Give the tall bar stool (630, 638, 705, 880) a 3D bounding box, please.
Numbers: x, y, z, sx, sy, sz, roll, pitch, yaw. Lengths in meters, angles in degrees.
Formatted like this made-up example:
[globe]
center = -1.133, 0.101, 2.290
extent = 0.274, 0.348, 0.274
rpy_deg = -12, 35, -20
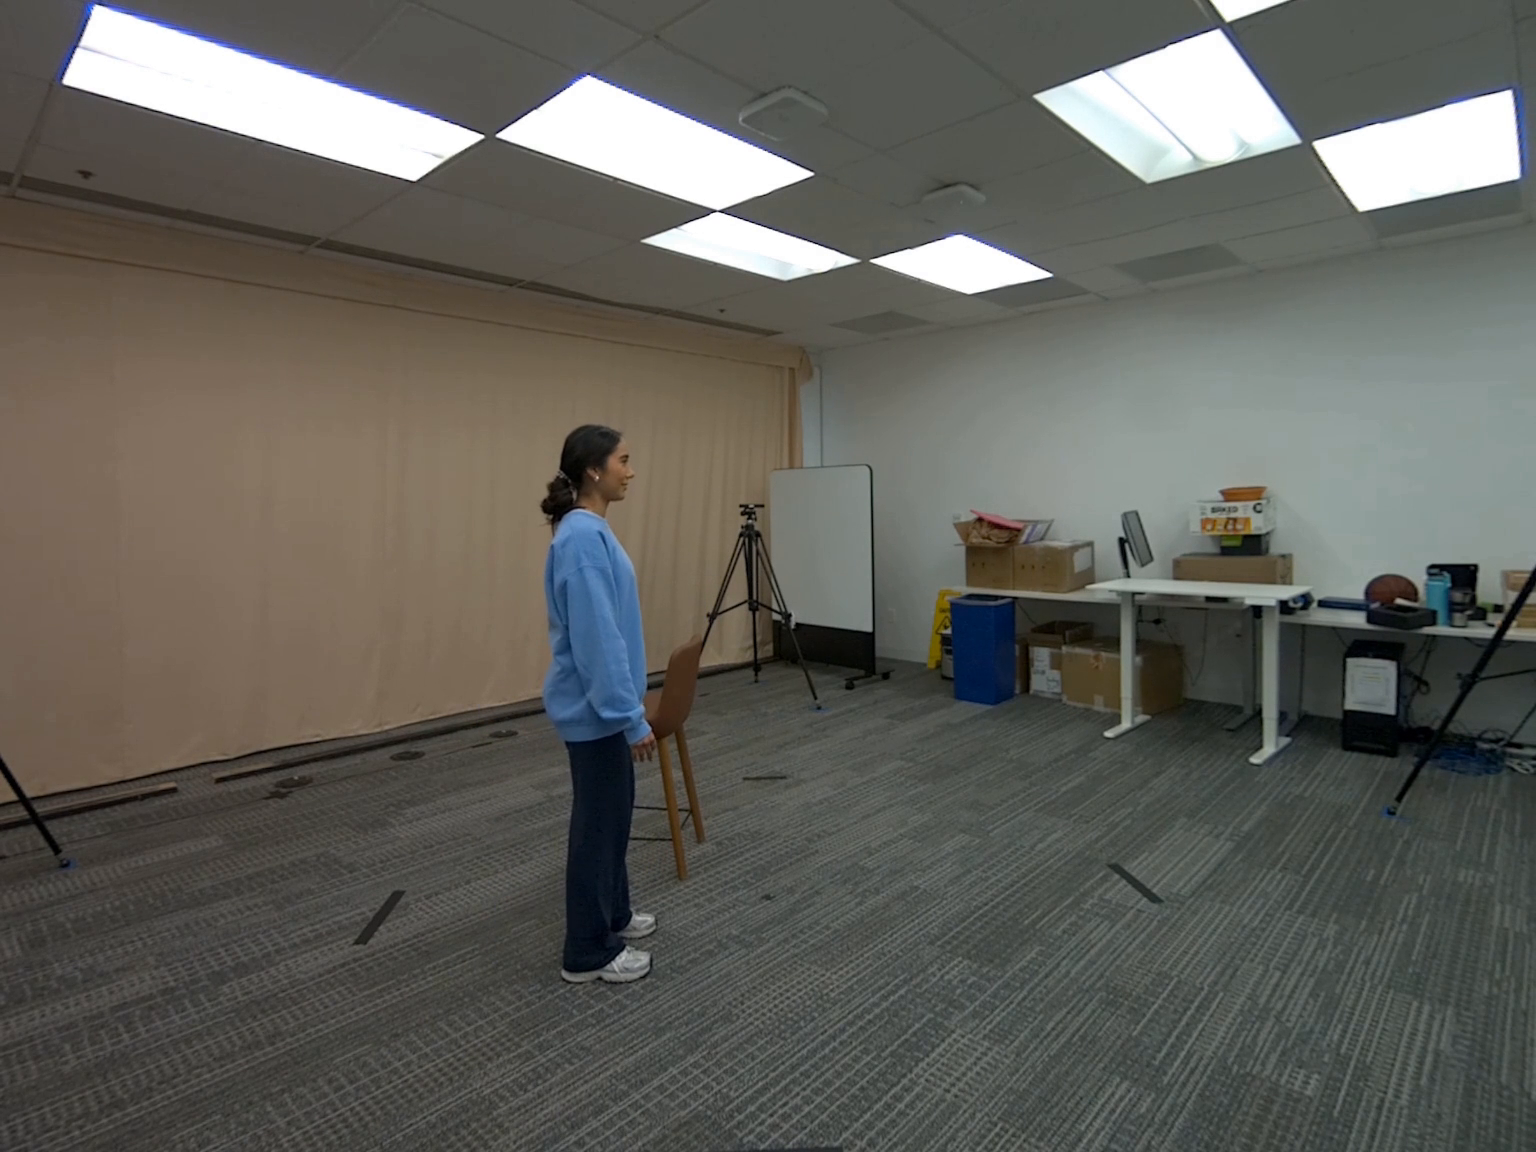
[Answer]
[tall bar stool]
center = -0.509, 0.688, 3.339
extent = 0.473, 0.888, 0.452
rpy_deg = 0, 3, 10
